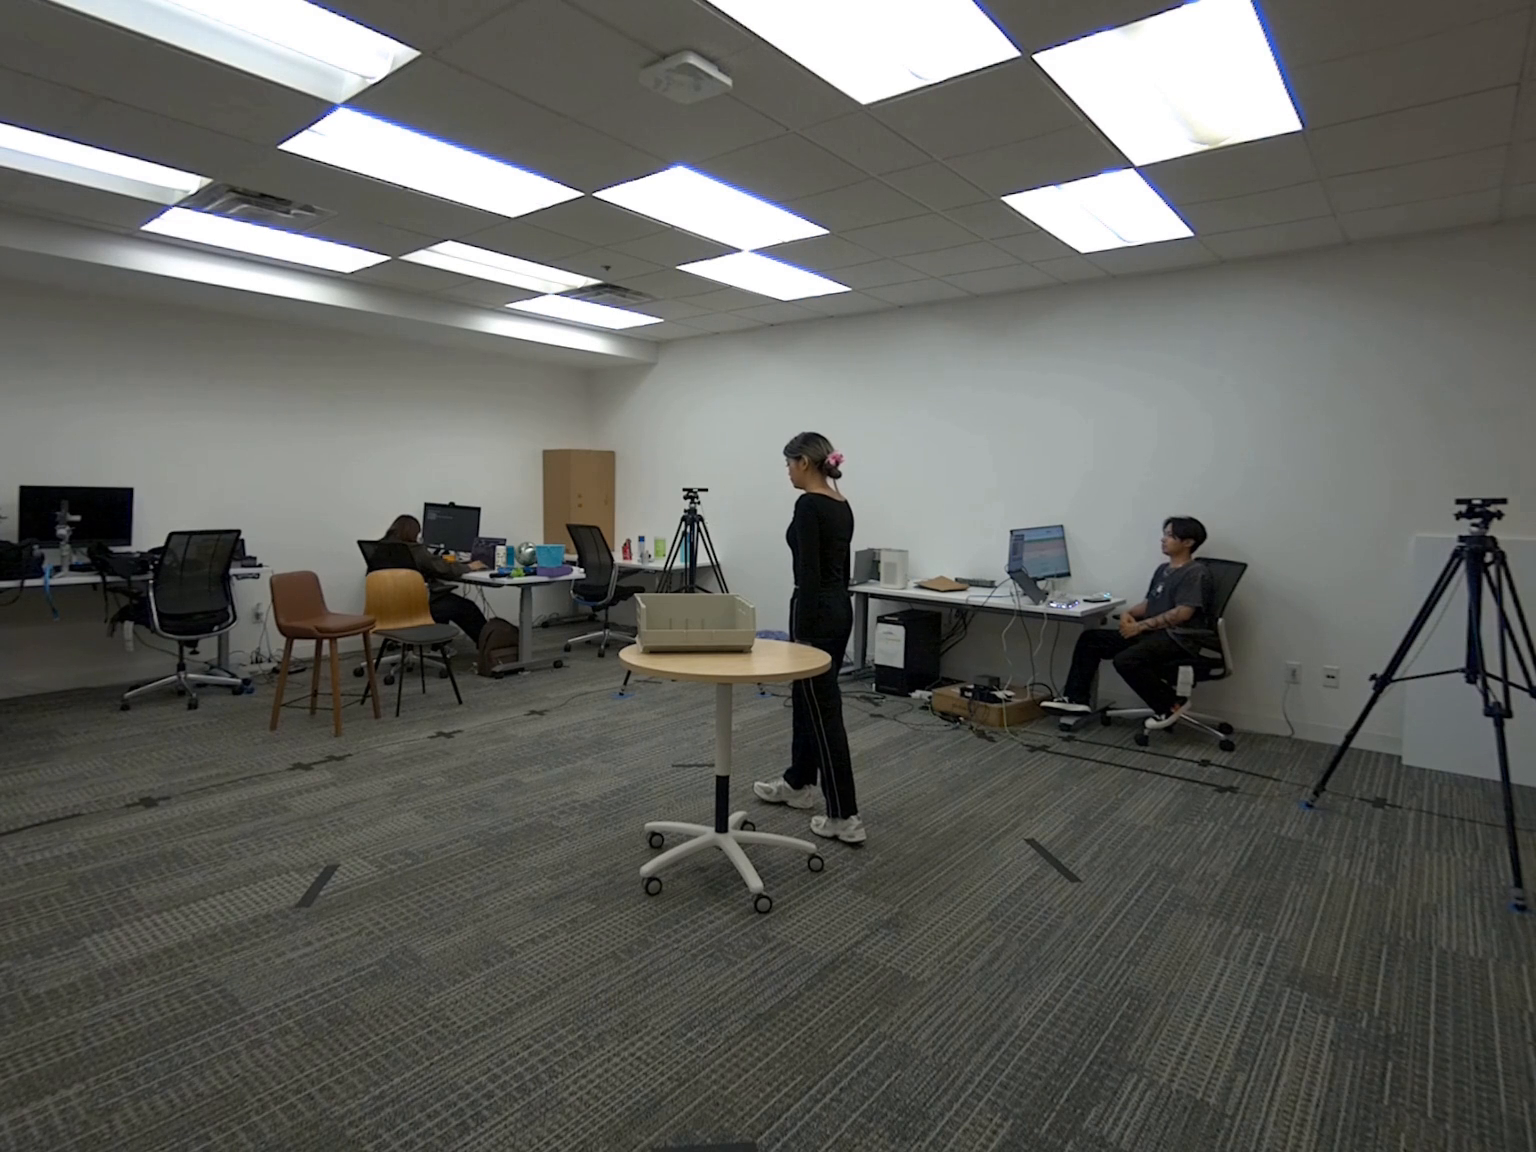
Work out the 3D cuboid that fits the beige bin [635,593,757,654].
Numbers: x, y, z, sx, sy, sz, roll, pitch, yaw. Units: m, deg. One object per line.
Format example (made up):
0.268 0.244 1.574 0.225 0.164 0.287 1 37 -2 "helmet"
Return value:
-0.292 0.177 3.231 0.418 0.188 0.383 0 4 -11 "beige bin"
